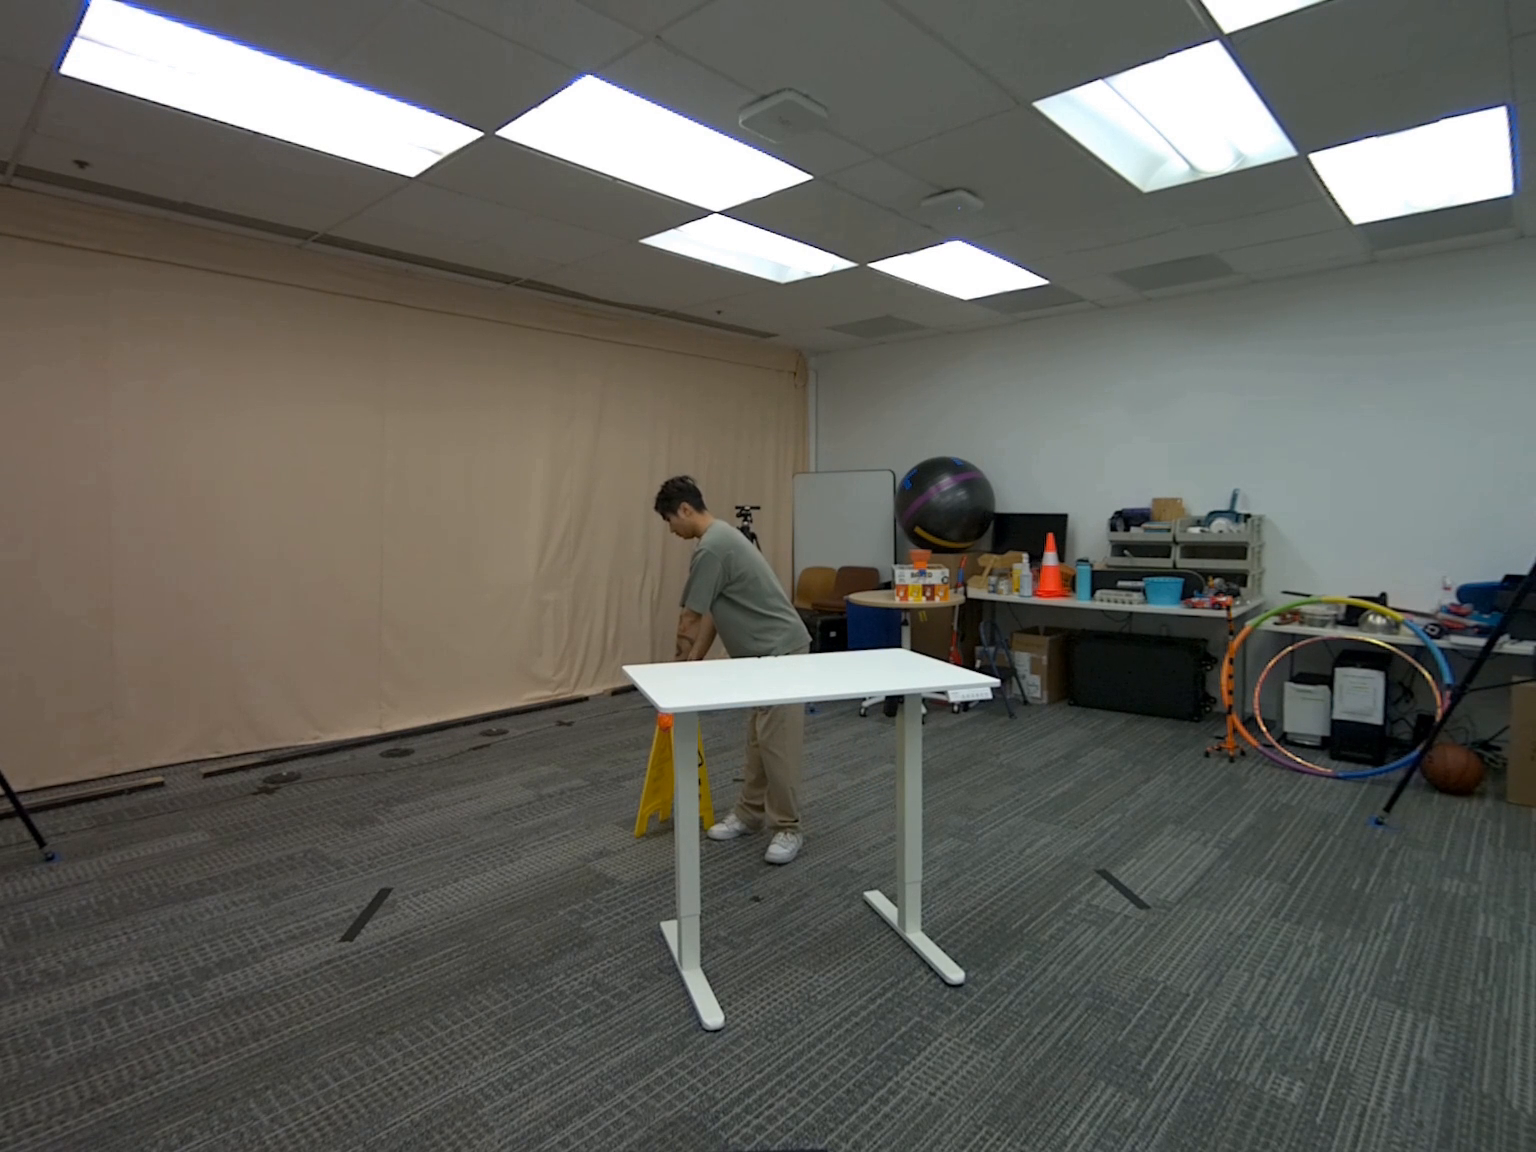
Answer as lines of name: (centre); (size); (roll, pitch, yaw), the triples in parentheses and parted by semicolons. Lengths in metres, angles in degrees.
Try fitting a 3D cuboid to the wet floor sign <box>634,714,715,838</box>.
wet floor sign: (-0.383, 0.774, 3.583); (0.297, 0.645, 0.275); (2, 1, 24)
